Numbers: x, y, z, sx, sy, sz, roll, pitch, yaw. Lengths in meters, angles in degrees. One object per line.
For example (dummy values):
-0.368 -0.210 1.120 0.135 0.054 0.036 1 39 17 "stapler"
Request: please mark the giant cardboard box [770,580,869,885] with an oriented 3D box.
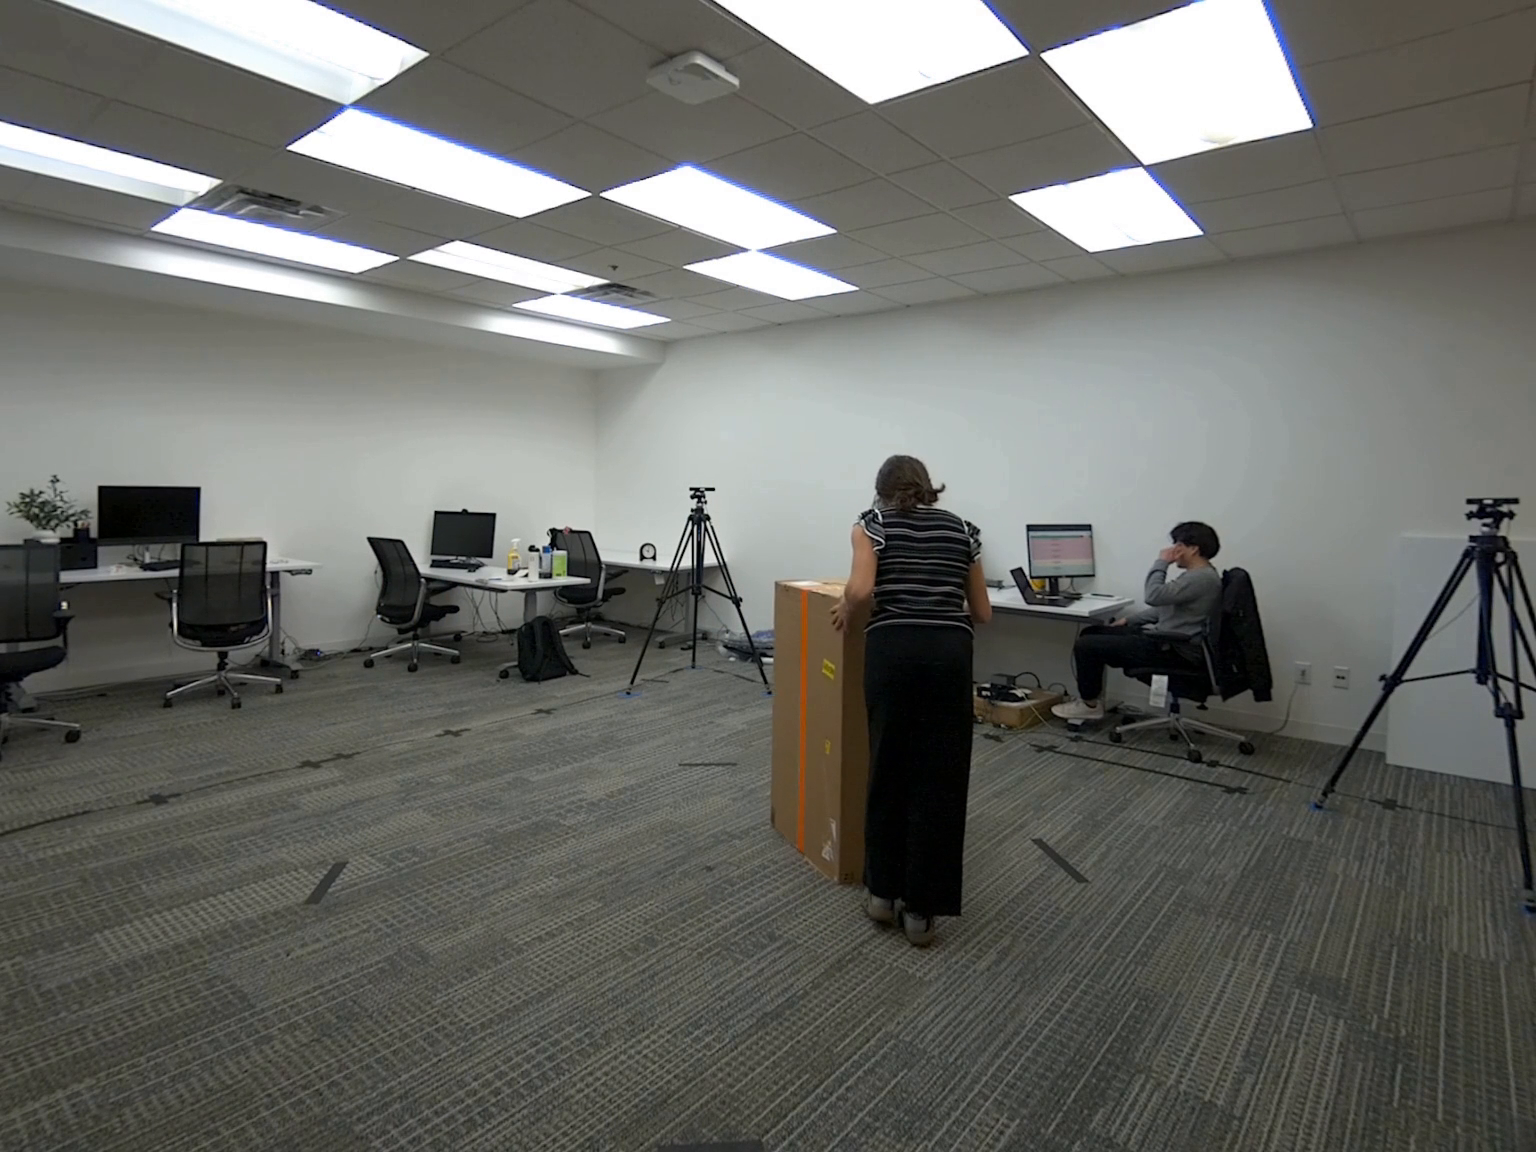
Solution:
0.314 0.551 3.315 0.417 1.023 0.592 -1 4 -23 "giant cardboard box"
